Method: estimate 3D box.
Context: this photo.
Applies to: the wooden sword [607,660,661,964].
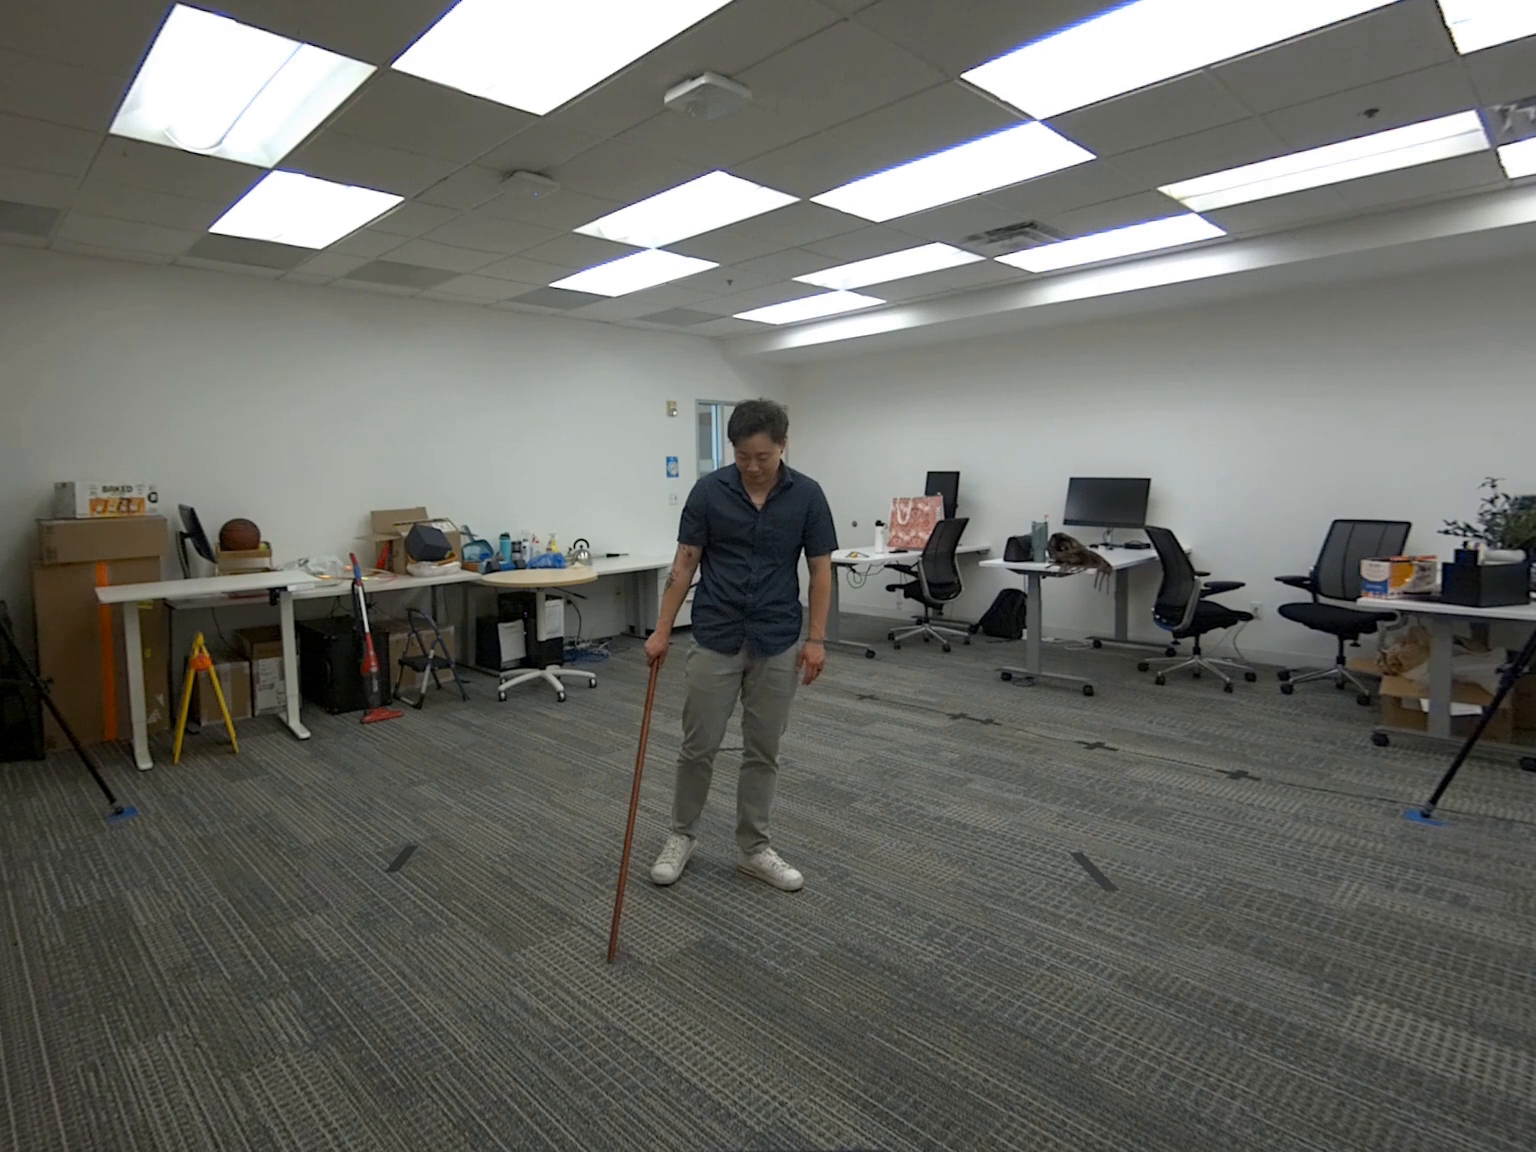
[{"bbox_3d":[-0.417,0.684,2.739,0.052,1.047,0.023,-21,-38,36],"label":"wooden sword"}]
